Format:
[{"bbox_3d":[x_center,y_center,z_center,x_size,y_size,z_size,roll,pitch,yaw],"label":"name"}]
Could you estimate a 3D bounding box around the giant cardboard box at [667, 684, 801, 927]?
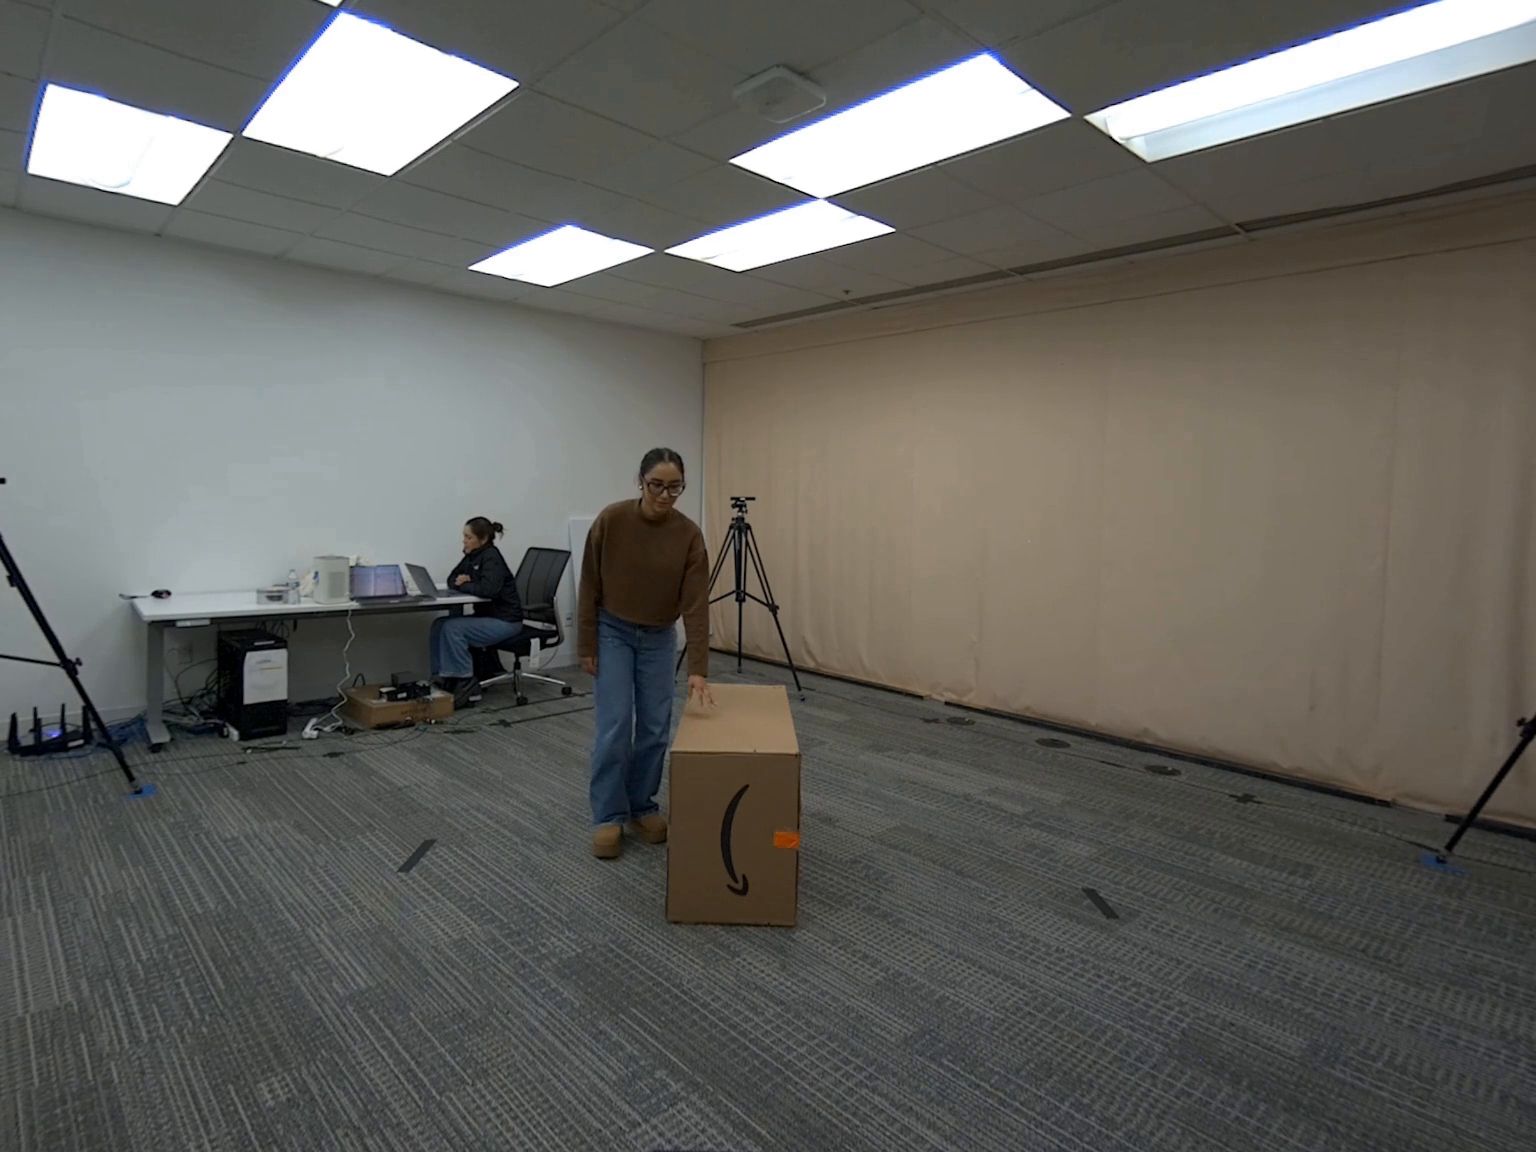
[{"bbox_3d":[-0.128,0.809,3.234,0.447,0.582,1.029,0,5,0],"label":"giant cardboard box"}]
